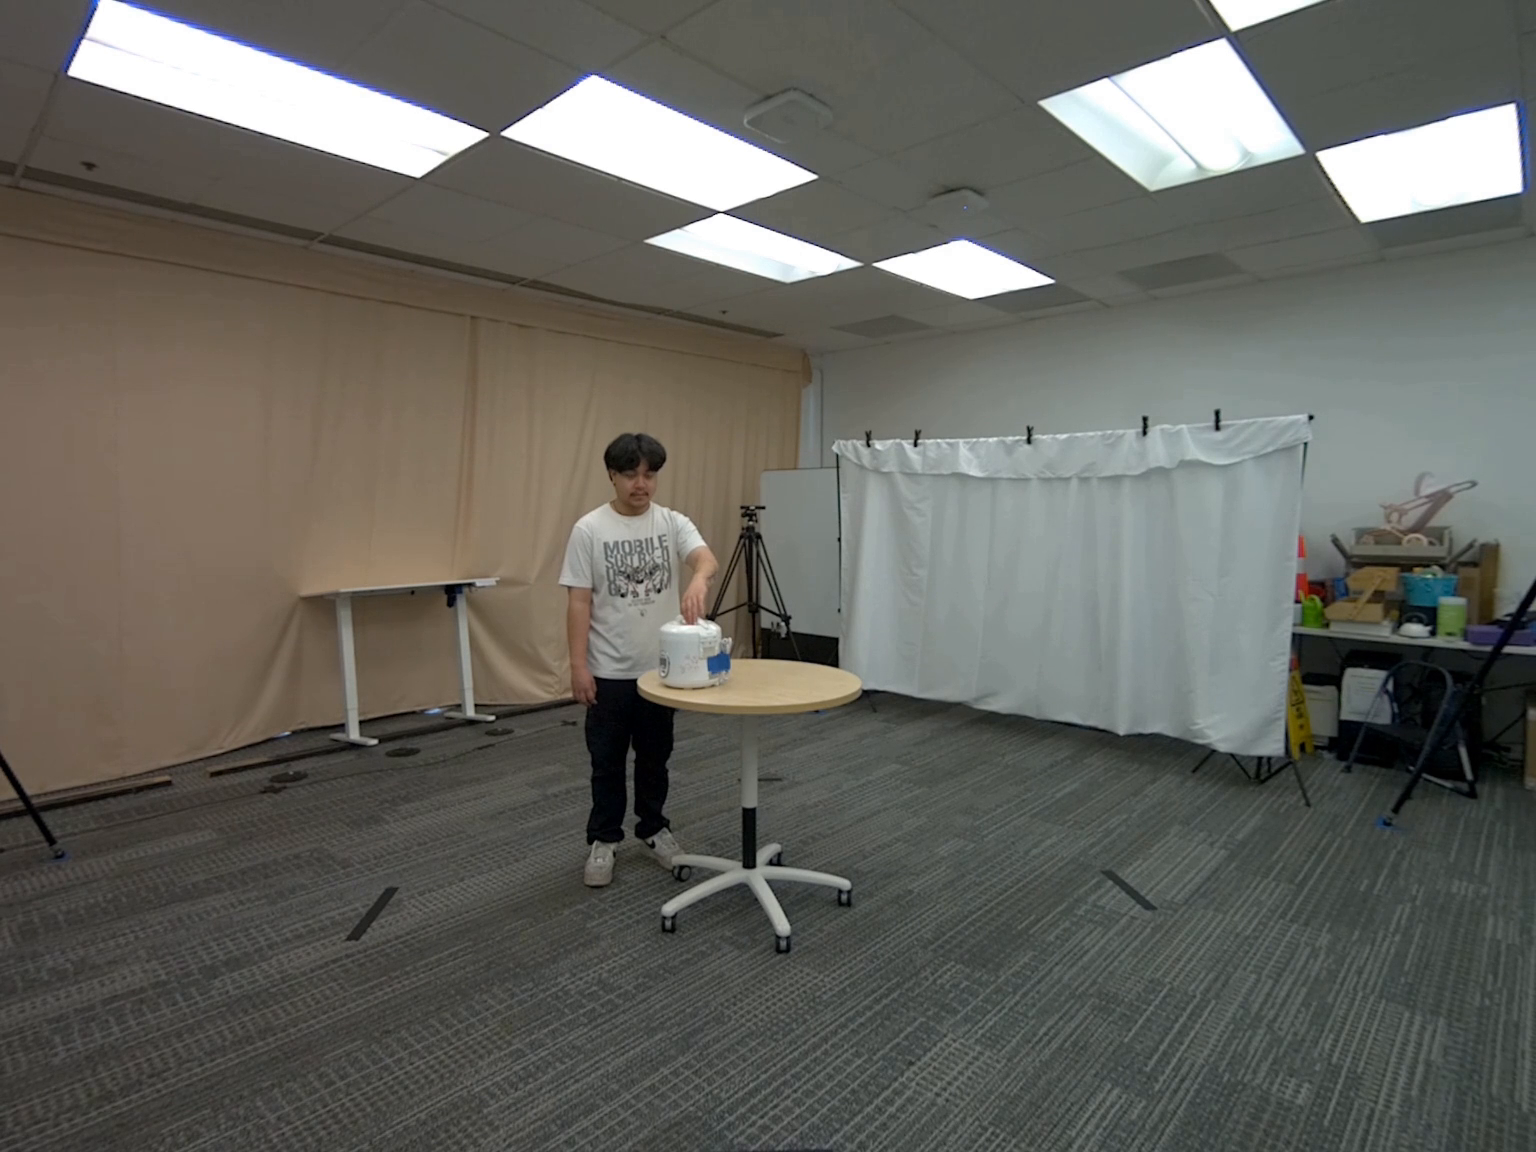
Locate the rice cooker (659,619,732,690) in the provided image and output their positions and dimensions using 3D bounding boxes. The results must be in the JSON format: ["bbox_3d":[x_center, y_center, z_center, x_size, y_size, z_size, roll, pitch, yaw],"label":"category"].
[{"bbox_3d":[-0.254,0.248,2.805,0.211,0.232,0.228,-1,4,-38],"label":"rice cooker"}]
